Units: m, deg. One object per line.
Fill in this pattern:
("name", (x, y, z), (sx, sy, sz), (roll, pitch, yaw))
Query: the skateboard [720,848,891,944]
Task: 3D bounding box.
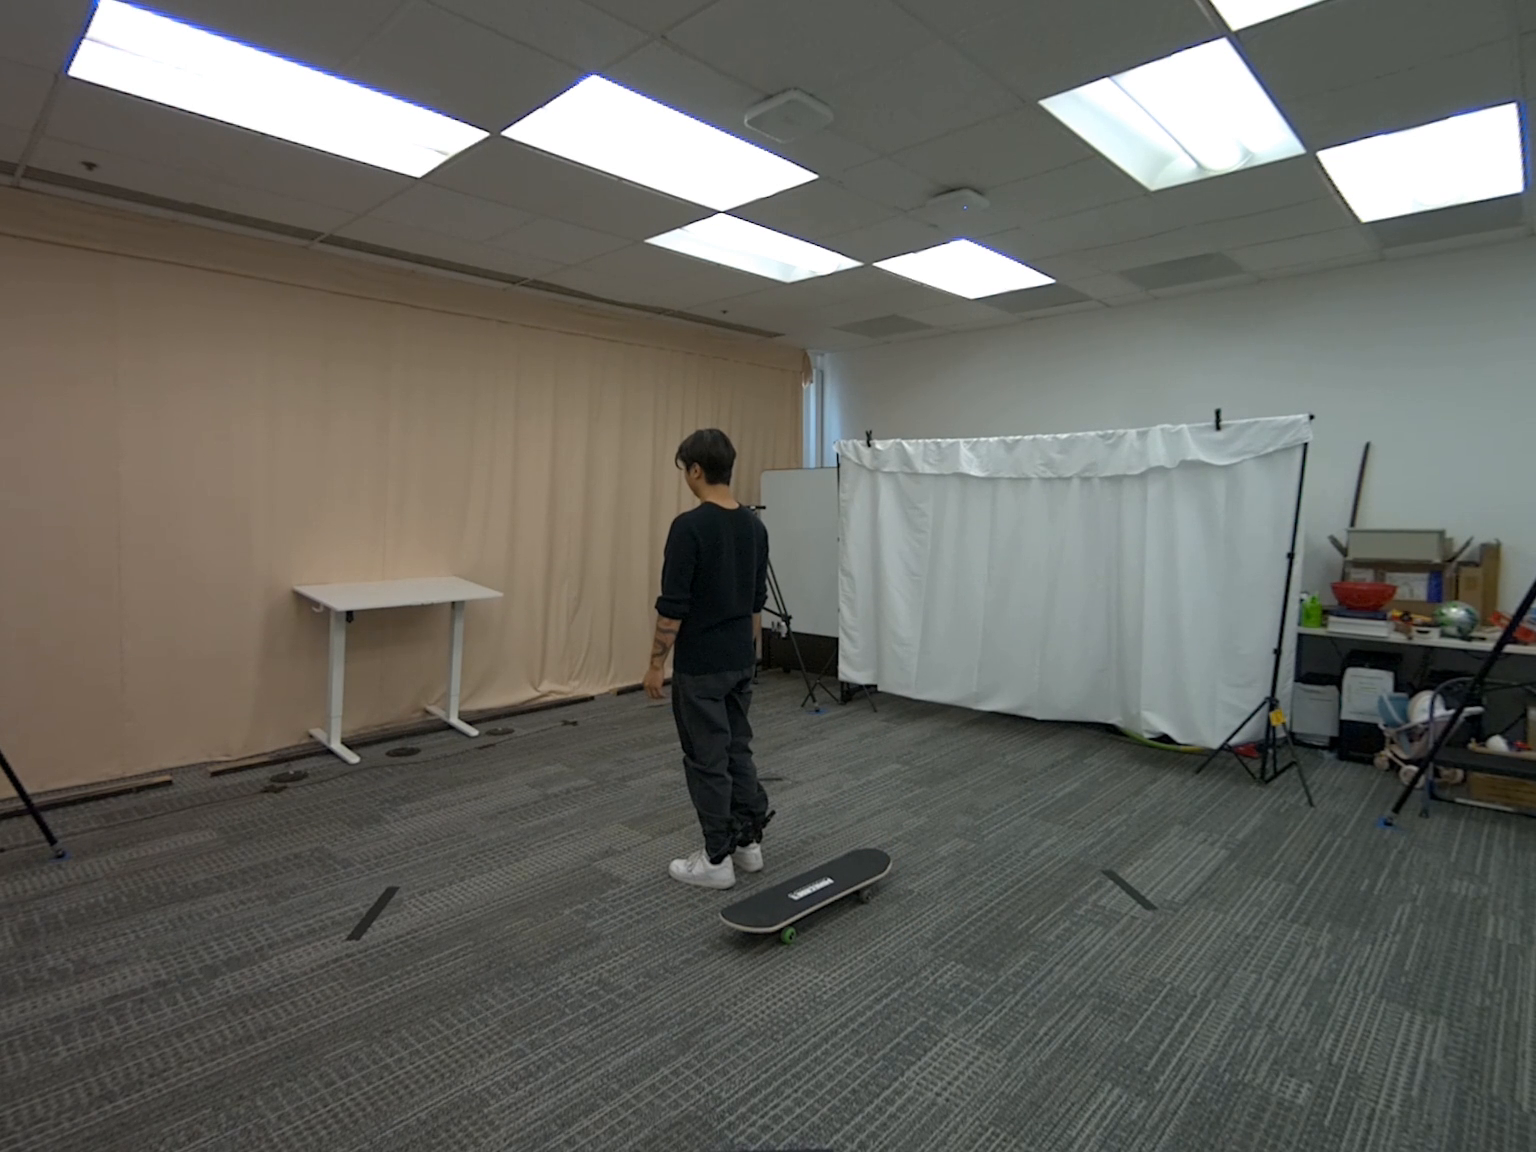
("skateboard", (0.146, 1.097, 2.865), (0.761, 0.110, 0.200), (-5, 7, -44))
